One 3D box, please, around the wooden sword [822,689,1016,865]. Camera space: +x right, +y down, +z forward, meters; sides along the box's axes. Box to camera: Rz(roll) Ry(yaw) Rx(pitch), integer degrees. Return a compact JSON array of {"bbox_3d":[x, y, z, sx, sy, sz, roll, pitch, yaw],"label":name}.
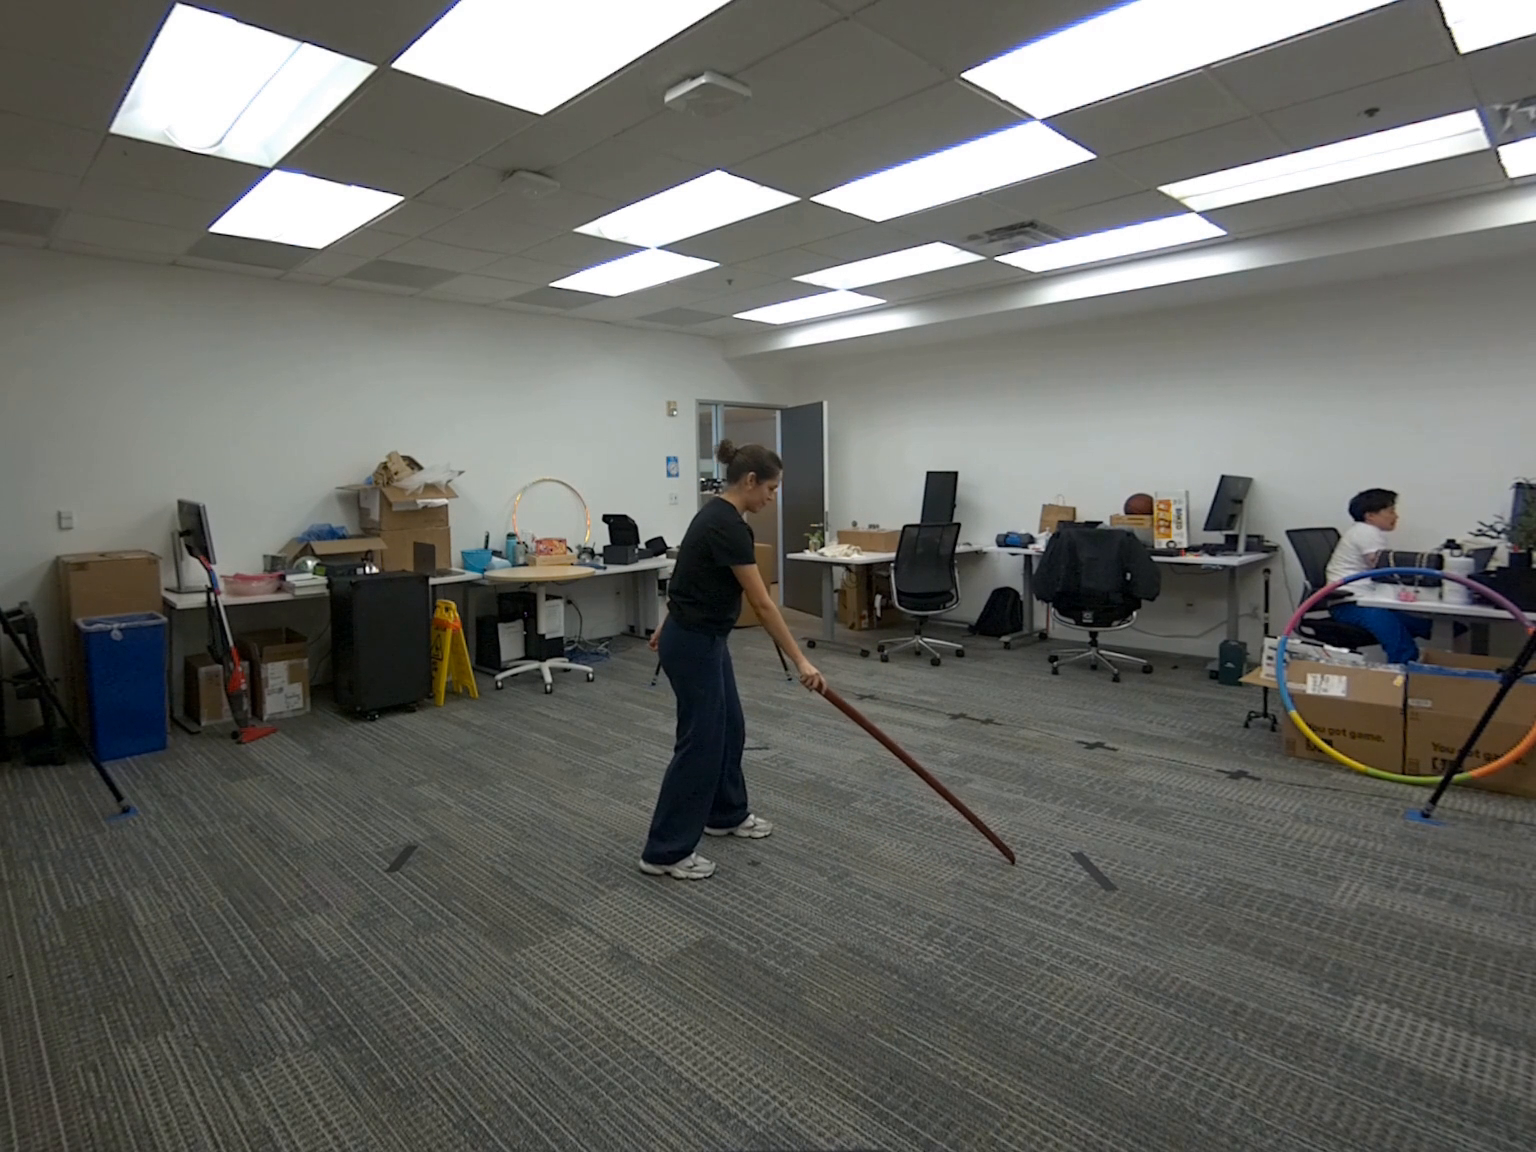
[{"bbox_3d":[0.509,0.672,3.048,1.020,0.051,0.024,42,4,-3],"label":"wooden sword"}]
